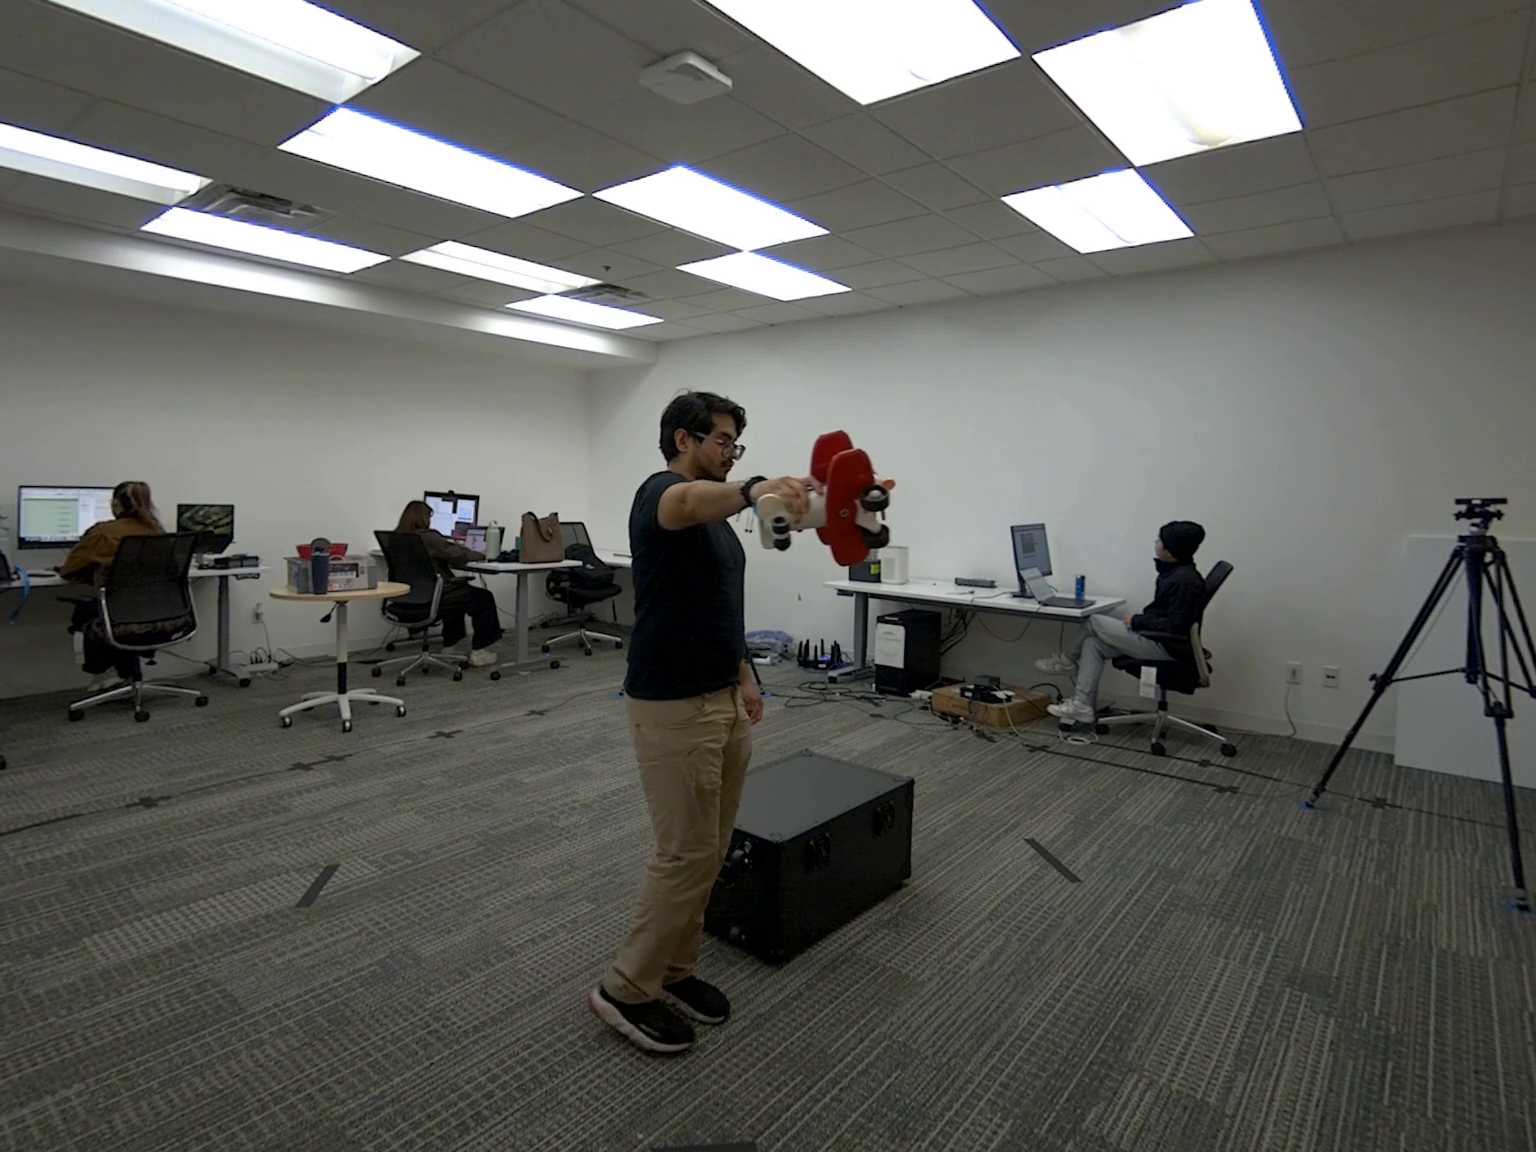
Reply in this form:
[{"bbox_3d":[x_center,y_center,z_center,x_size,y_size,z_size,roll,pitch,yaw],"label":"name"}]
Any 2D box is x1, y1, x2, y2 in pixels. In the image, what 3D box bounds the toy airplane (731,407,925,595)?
[{"bbox_3d":[0.101,-0.140,1.598,0.254,0.248,0.161,16,33,-17],"label":"toy airplane"}]
